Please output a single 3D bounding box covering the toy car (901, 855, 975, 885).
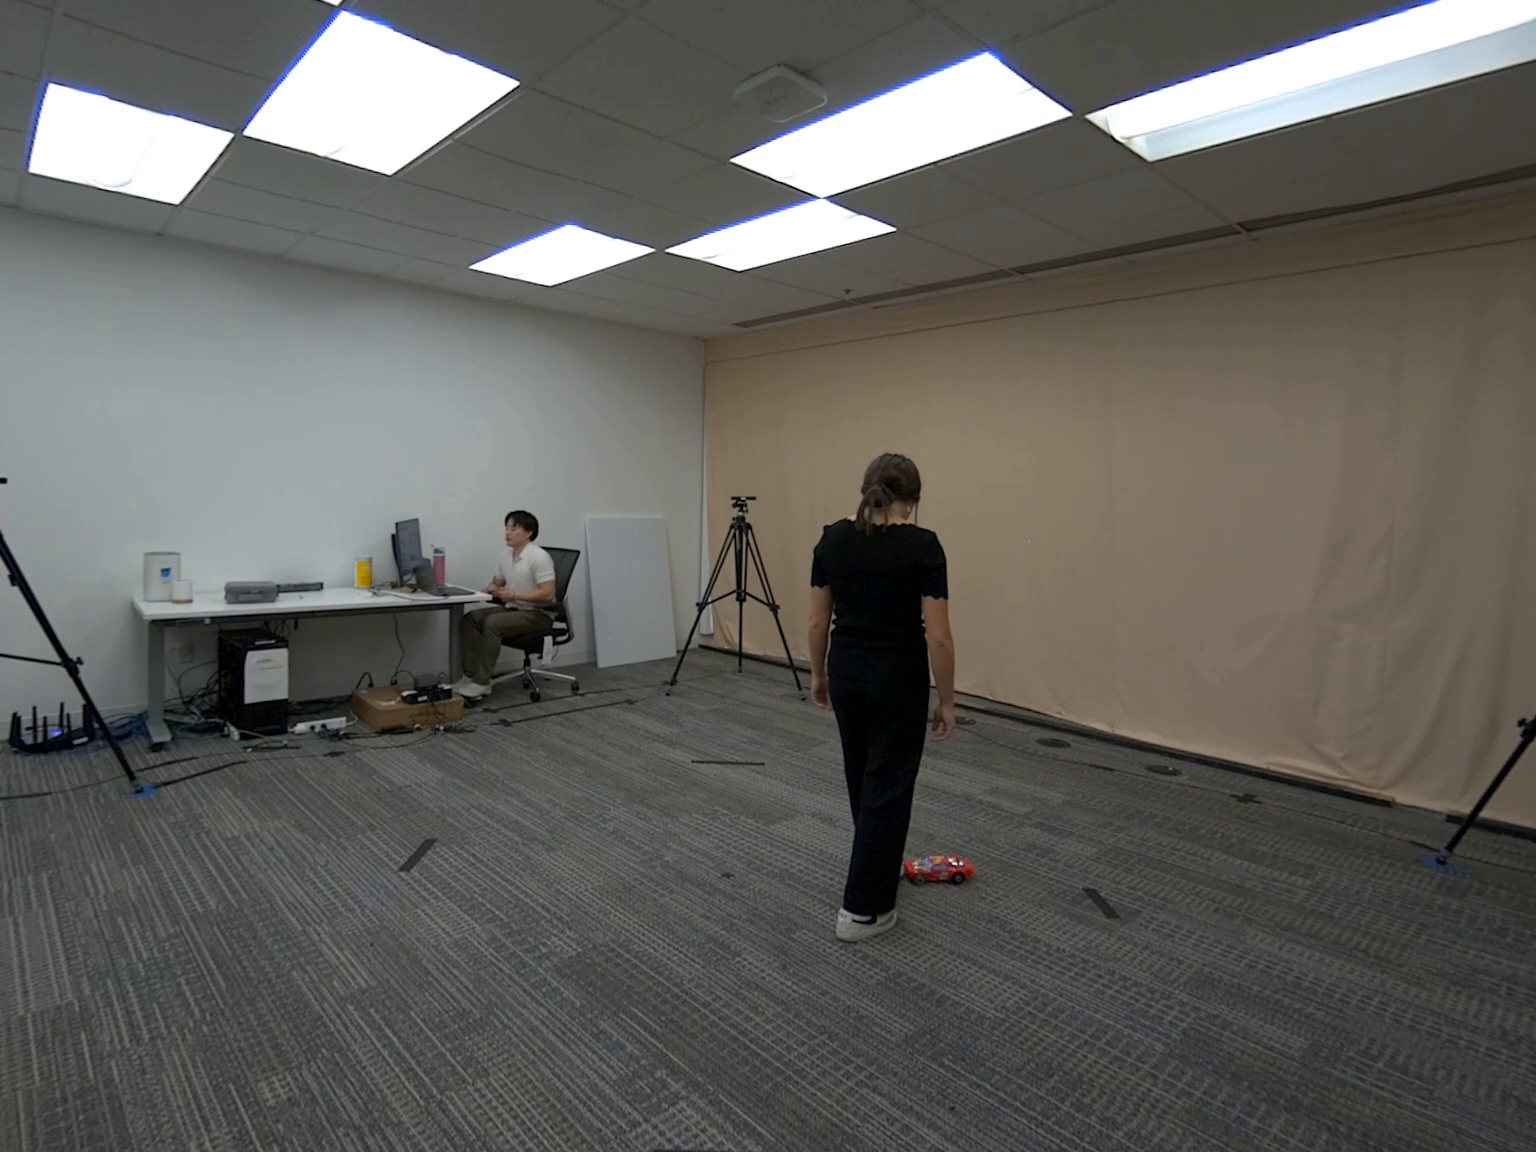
[{"bbox_3d":[0.633,1.092,3.124,0.254,0.083,0.131,-10,6,-4],"label":"toy car"}]
